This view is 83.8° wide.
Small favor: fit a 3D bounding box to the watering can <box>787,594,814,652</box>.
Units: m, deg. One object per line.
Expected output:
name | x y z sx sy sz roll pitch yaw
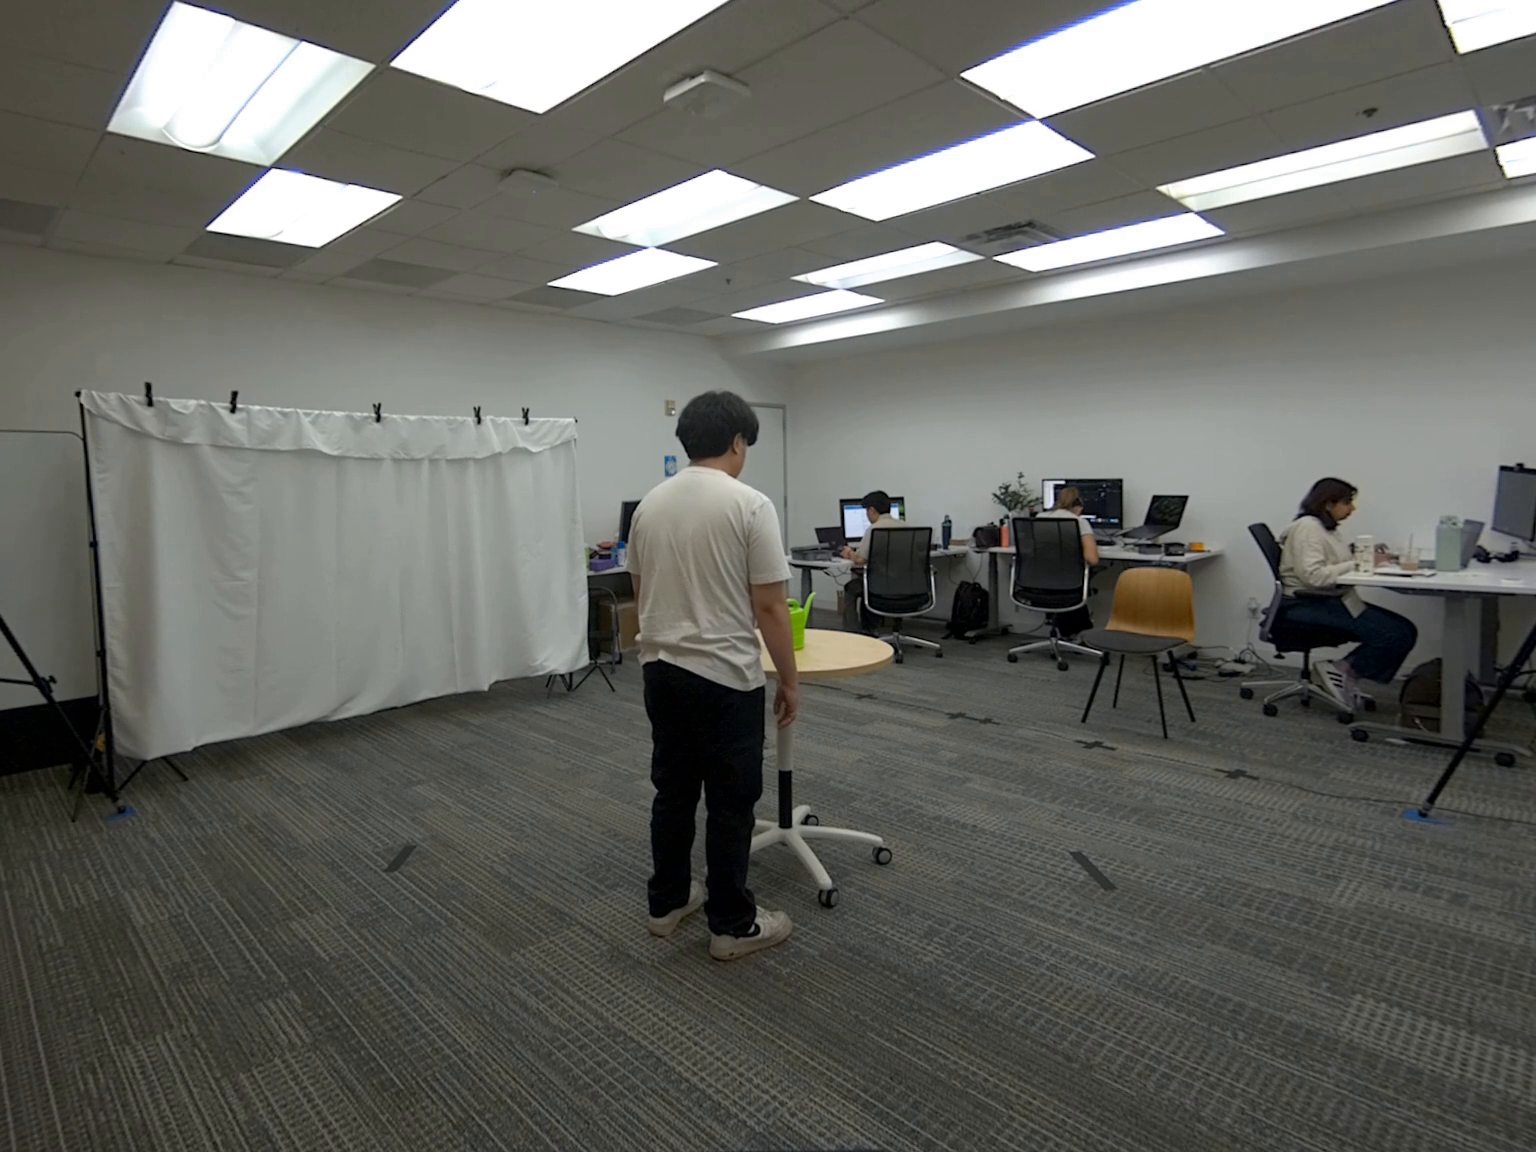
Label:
watering can | 0.114 0.168 3.058 0.101 0.176 0.271 5 9 43
